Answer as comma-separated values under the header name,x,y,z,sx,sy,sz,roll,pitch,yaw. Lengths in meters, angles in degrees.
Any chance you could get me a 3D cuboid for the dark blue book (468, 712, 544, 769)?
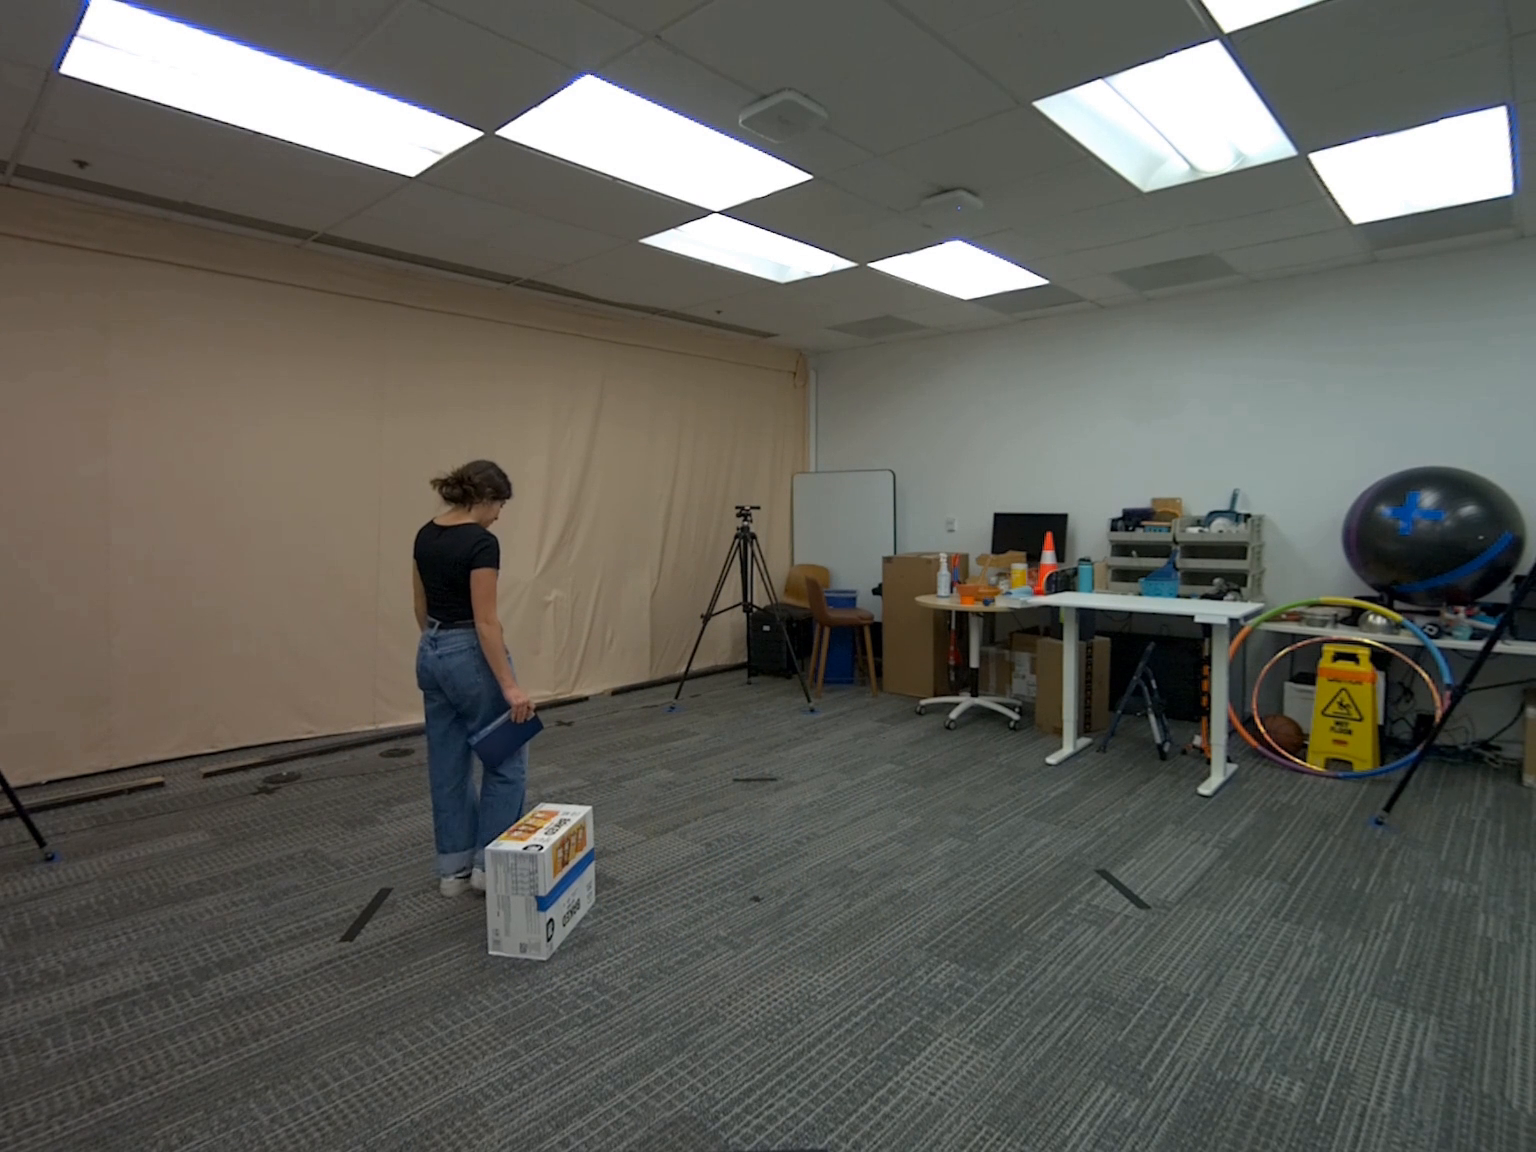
name,x,y,z,sx,sy,sz,roll,pitch,yaw
dark blue book,-0.926,0.561,2.973,0.243,0.159,0.047,-38,50,-23
